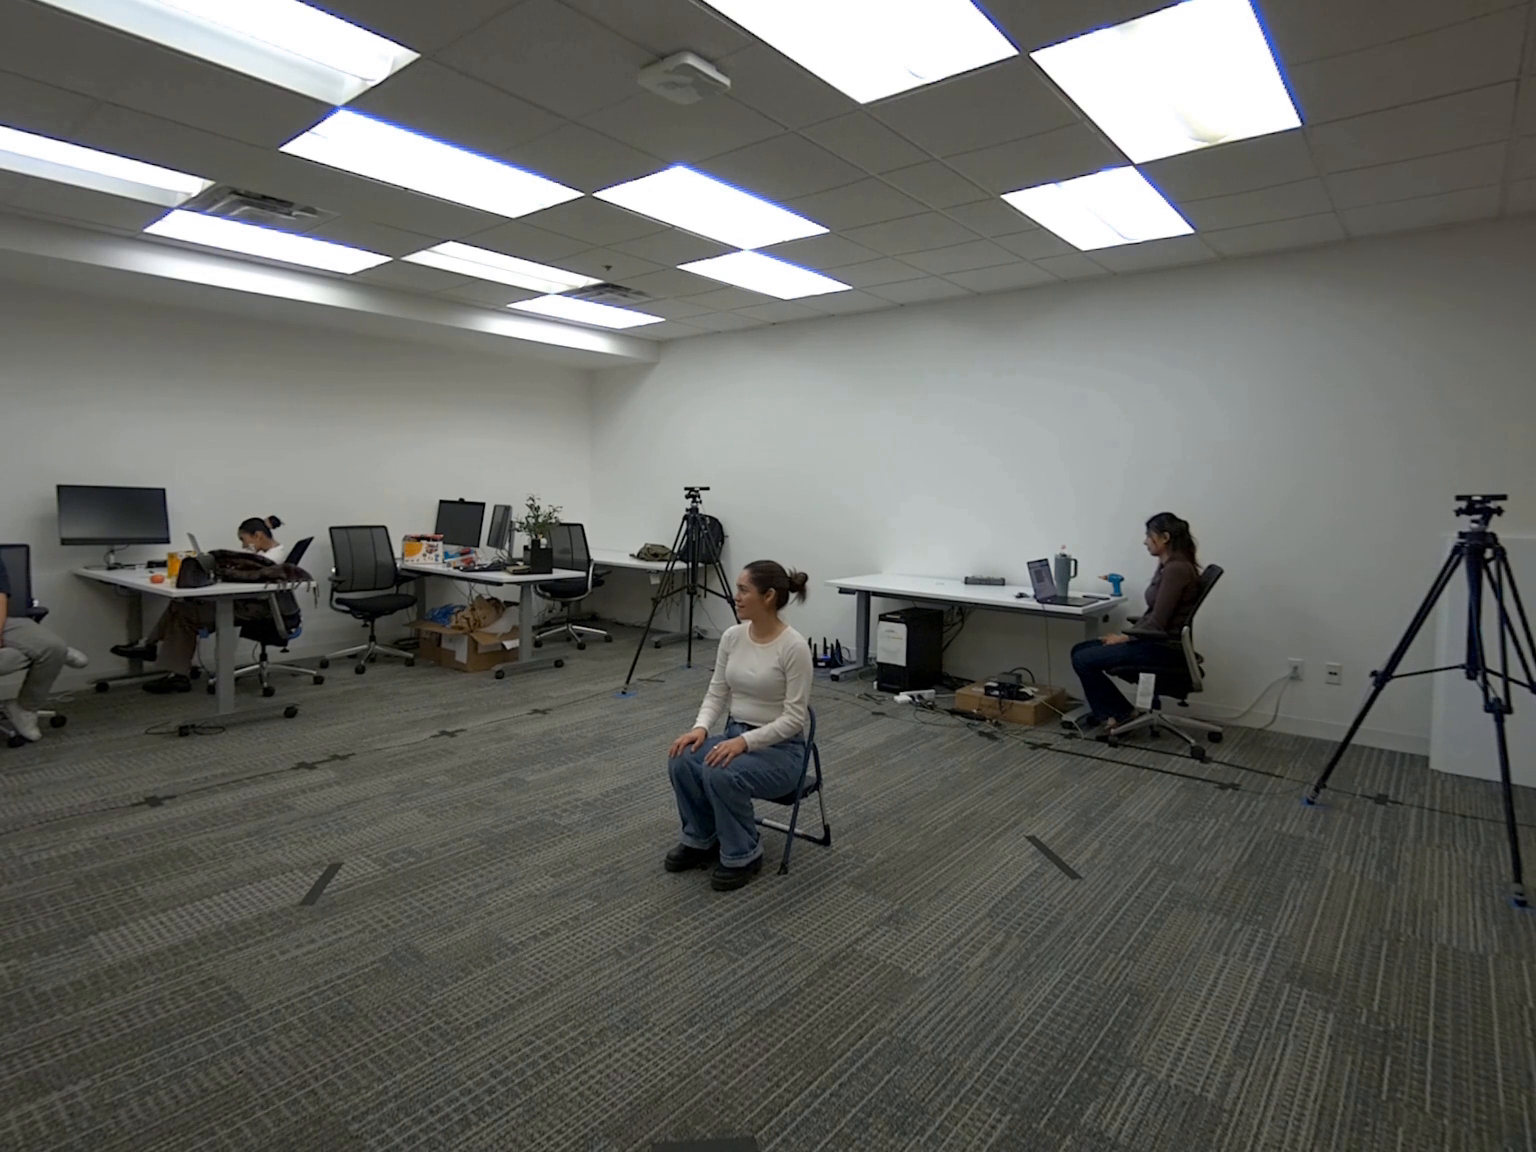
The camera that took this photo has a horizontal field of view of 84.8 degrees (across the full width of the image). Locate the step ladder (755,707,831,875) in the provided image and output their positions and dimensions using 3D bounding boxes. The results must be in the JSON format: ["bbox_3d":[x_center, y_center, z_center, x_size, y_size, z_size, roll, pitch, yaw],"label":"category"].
[{"bbox_3d":[-0.014,0.743,3.318,0.445,0.604,0.339,4,4,37],"label":"step ladder"}]
